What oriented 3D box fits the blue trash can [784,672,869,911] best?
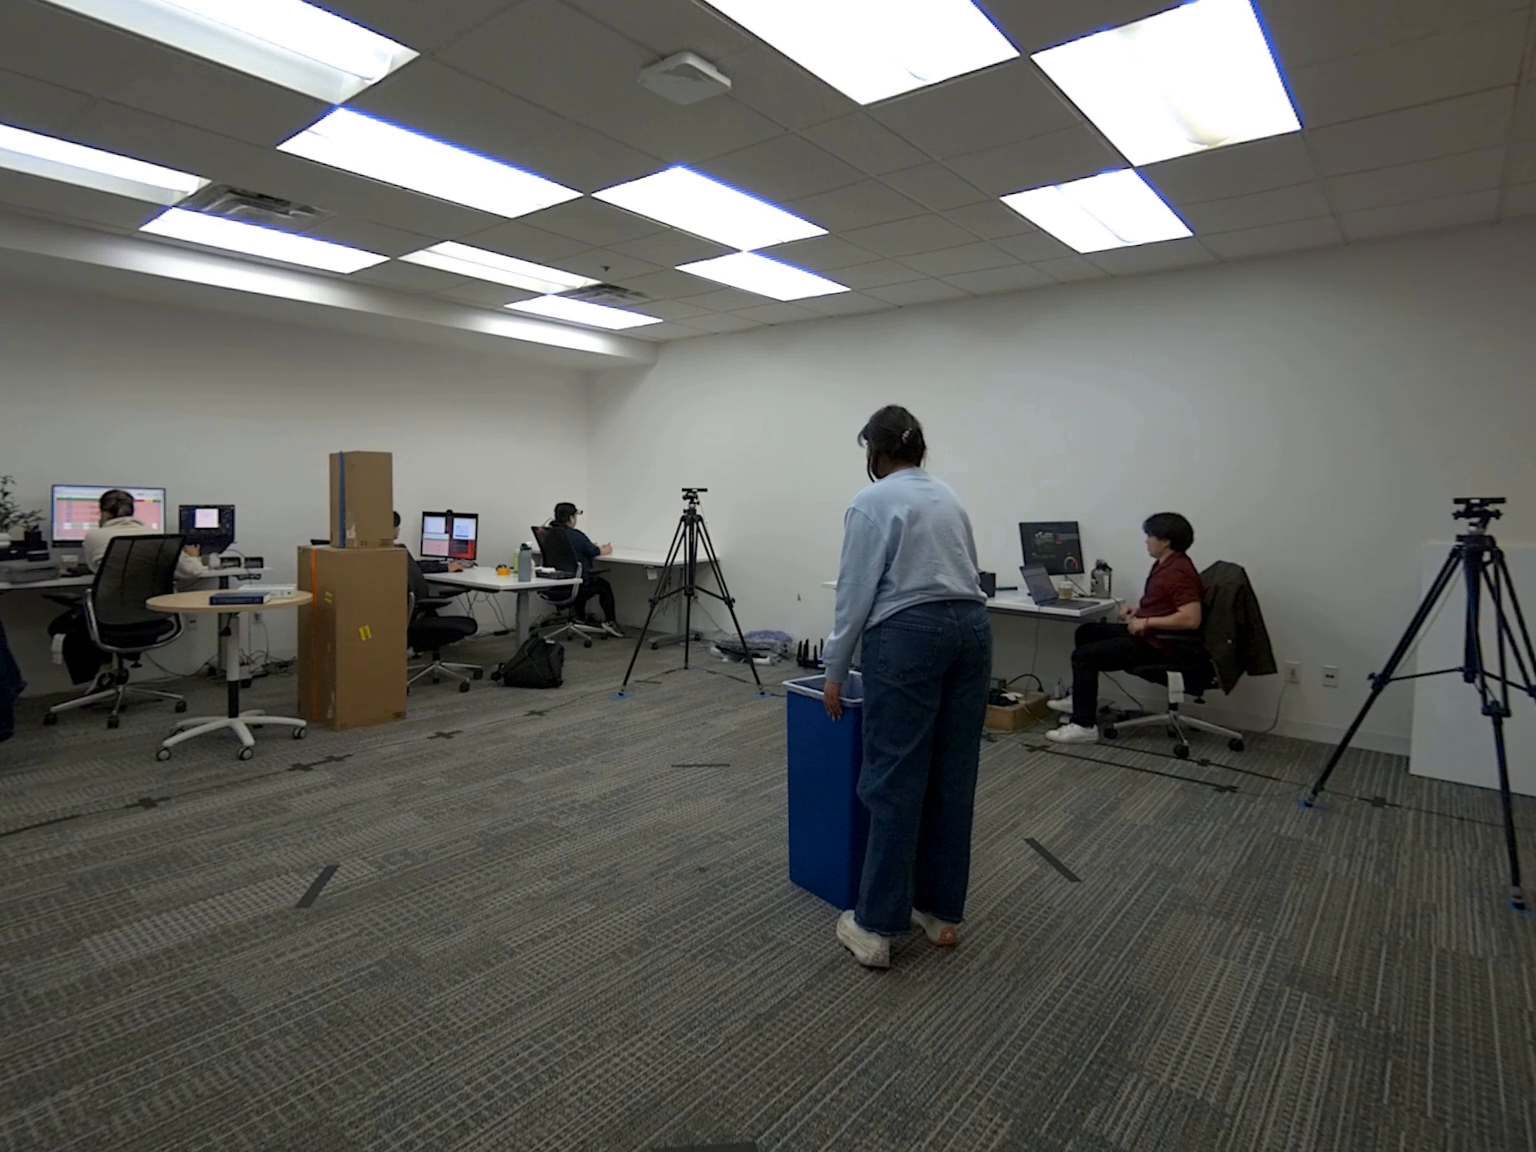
[{"bbox_3d":[0.275,0.734,3.005,0.366,0.712,0.387,0,4,-39],"label":"blue trash can"}]
